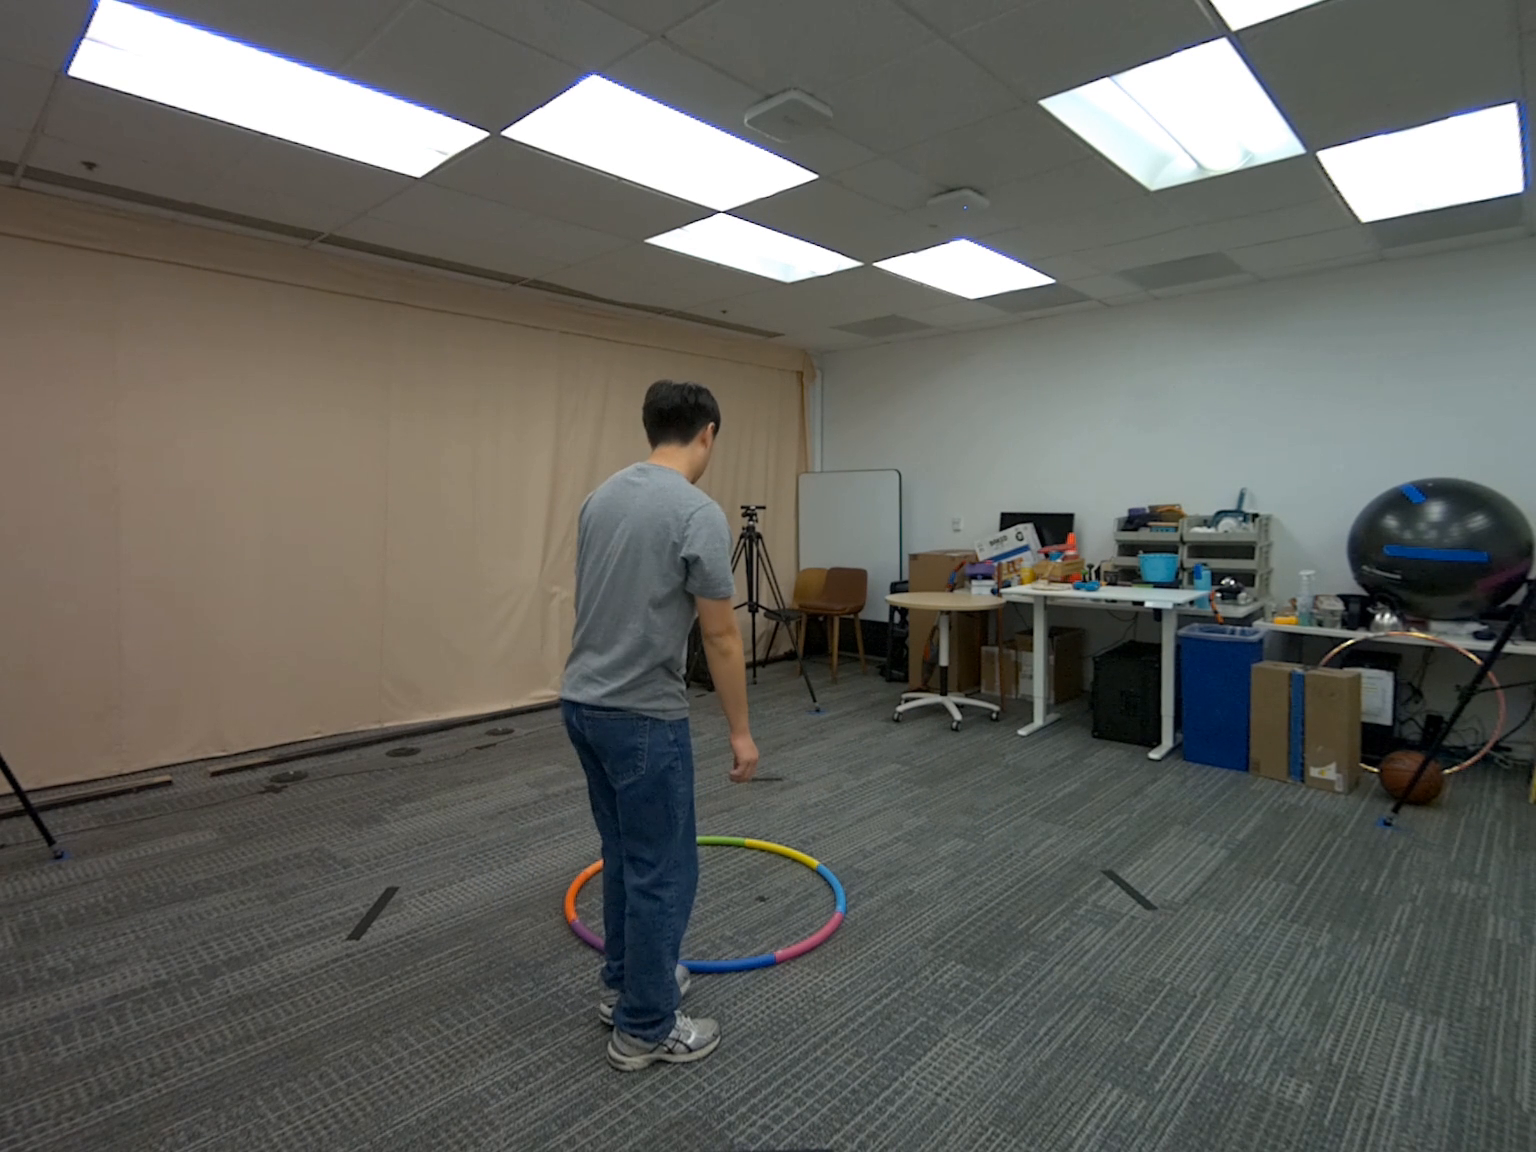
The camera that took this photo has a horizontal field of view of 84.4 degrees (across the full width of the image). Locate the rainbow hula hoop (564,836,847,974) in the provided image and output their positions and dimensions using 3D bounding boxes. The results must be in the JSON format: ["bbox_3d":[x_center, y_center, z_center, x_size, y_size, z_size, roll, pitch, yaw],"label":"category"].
[{"bbox_3d":[-0.220,1.112,2.987,0.978,0.035,0.982,-1,5,-2],"label":"rainbow hula hoop"}]
